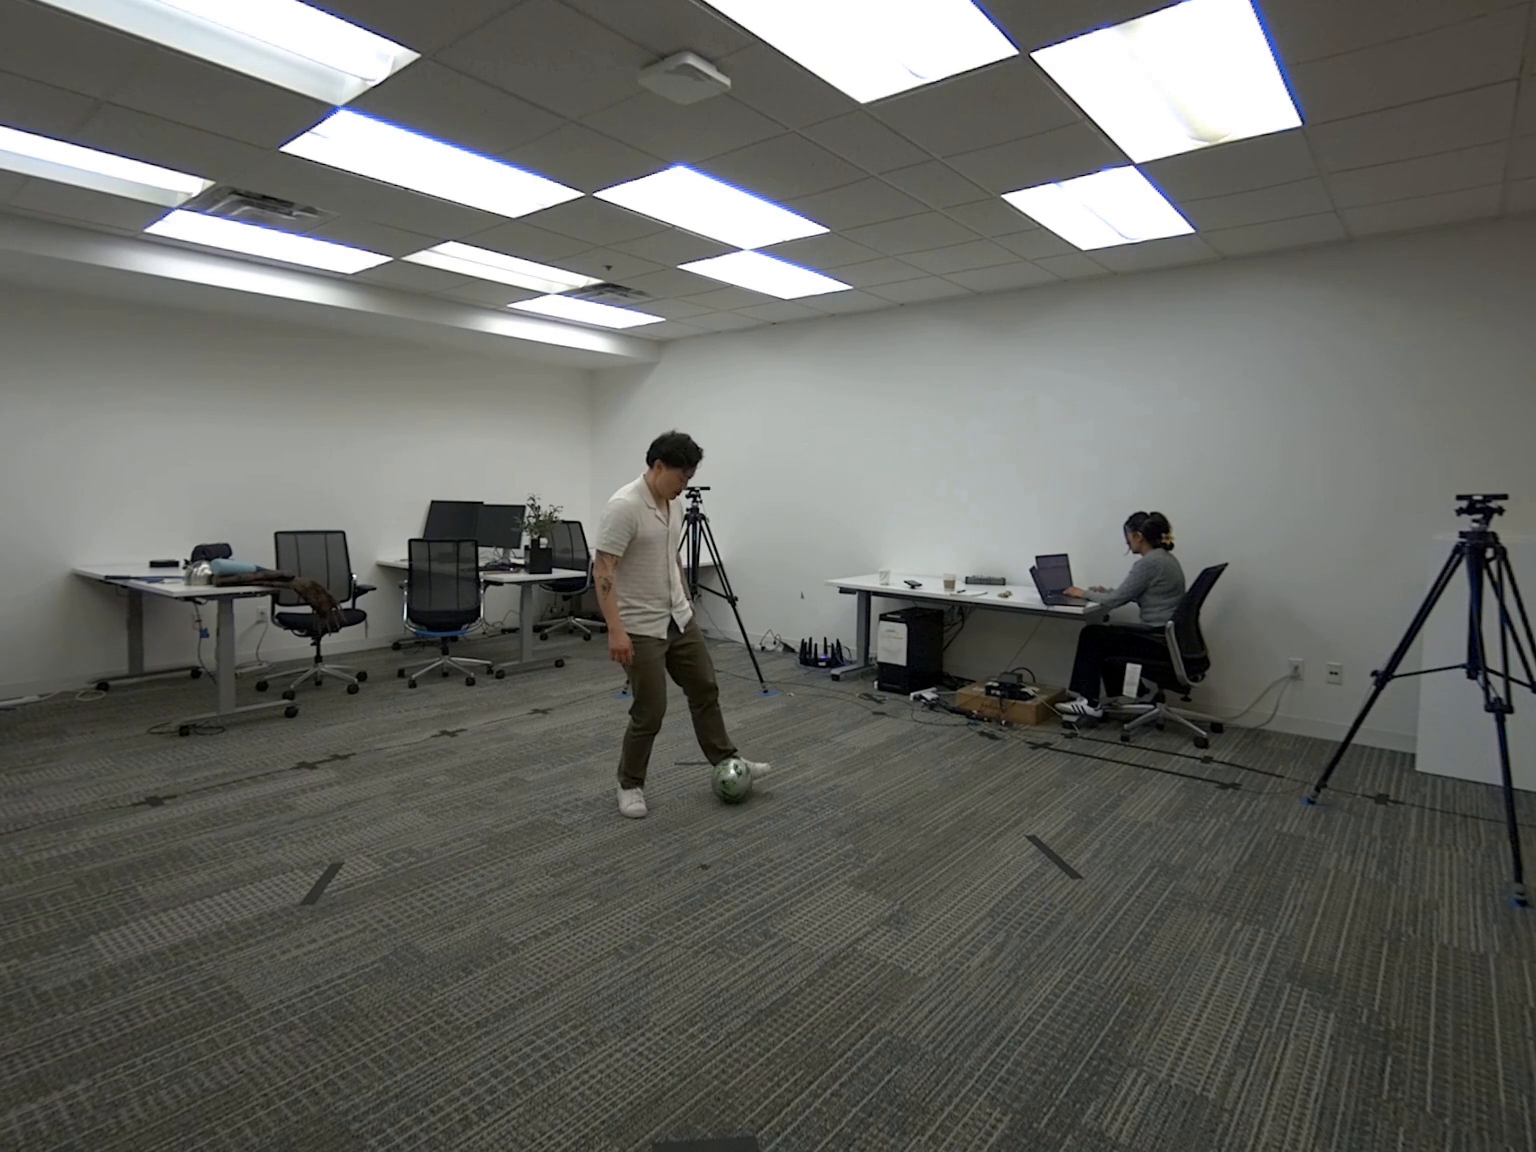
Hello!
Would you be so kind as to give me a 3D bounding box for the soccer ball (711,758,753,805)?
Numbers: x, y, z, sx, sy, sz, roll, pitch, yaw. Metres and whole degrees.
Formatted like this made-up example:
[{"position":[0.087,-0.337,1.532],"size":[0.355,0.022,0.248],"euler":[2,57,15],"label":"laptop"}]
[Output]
[{"position":[-0.179,0.910,3.762],"size":[0.187,0.187,0.188],"euler":[0,4,-2],"label":"soccer ball"}]
